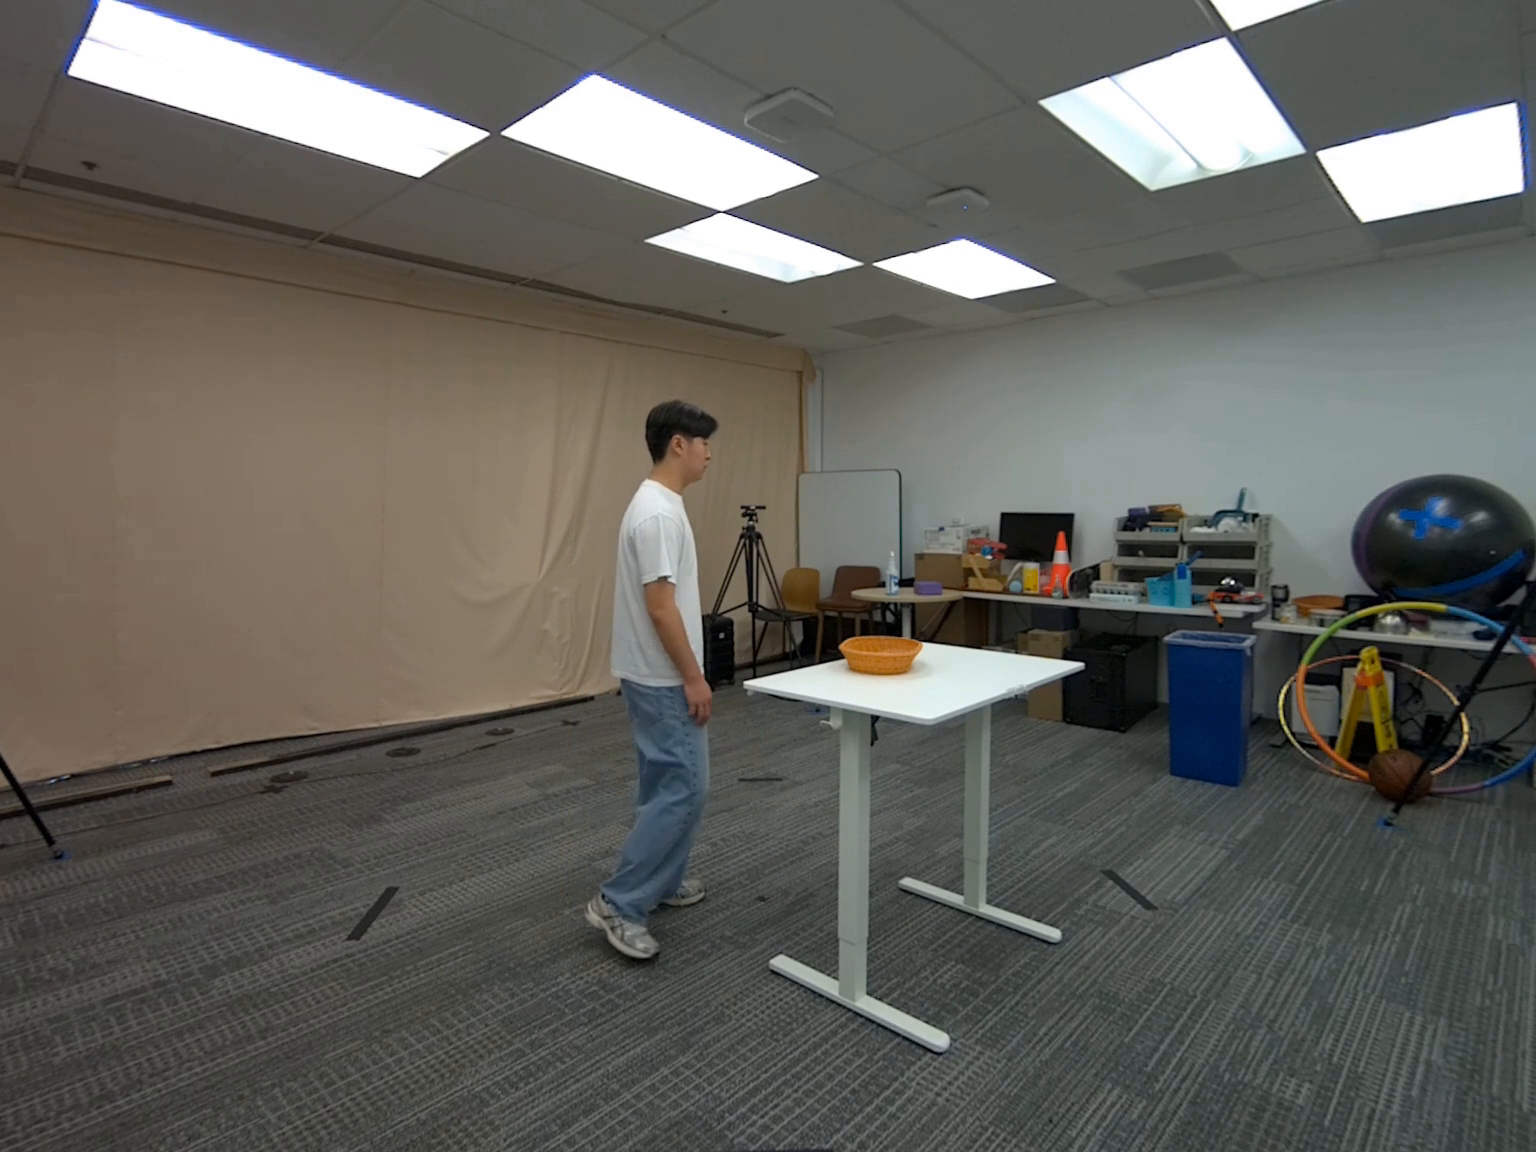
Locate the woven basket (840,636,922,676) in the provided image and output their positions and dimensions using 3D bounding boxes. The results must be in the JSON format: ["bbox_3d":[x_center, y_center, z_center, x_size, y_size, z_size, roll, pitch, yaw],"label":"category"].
[{"bbox_3d":[0.365,0.258,2.634,0.258,0.073,0.343,1,4,21],"label":"woven basket"}]
